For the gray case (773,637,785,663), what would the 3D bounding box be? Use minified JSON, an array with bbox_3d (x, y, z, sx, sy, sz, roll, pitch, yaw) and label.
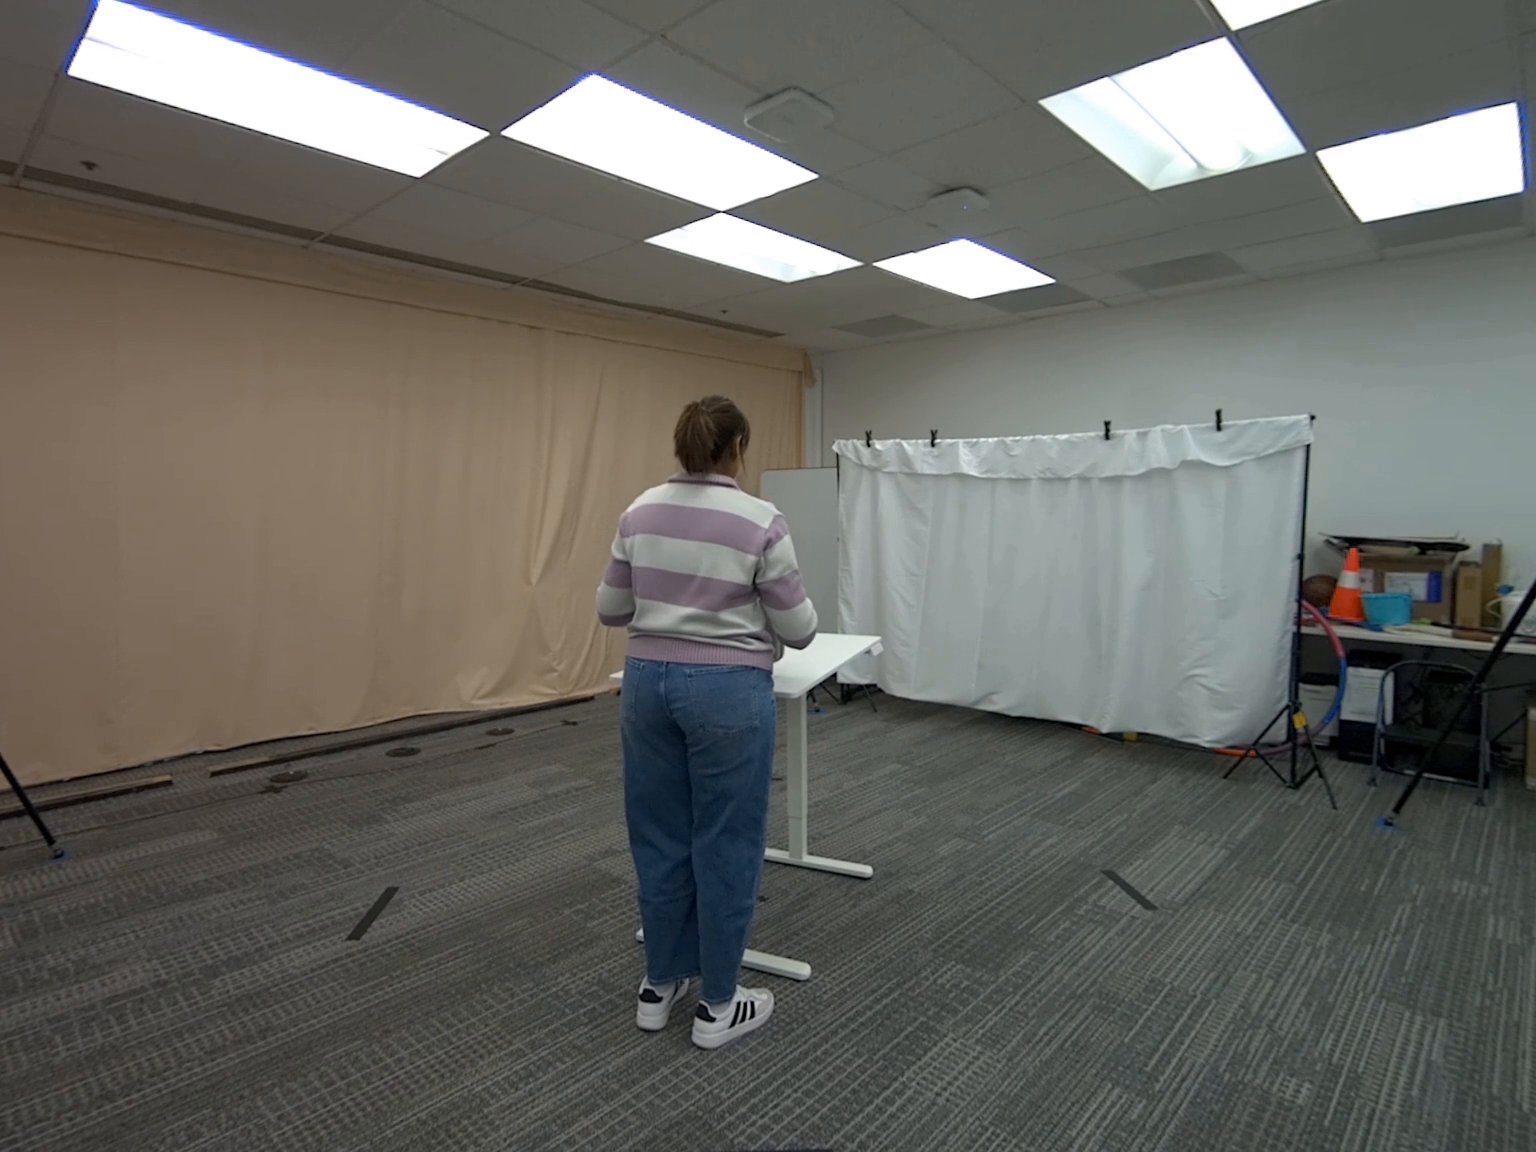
[{"bbox_3d":[-0.080,0.134,2.519,0.261,0.261,0.102,-4,-2,14],"label":"gray case"}]
